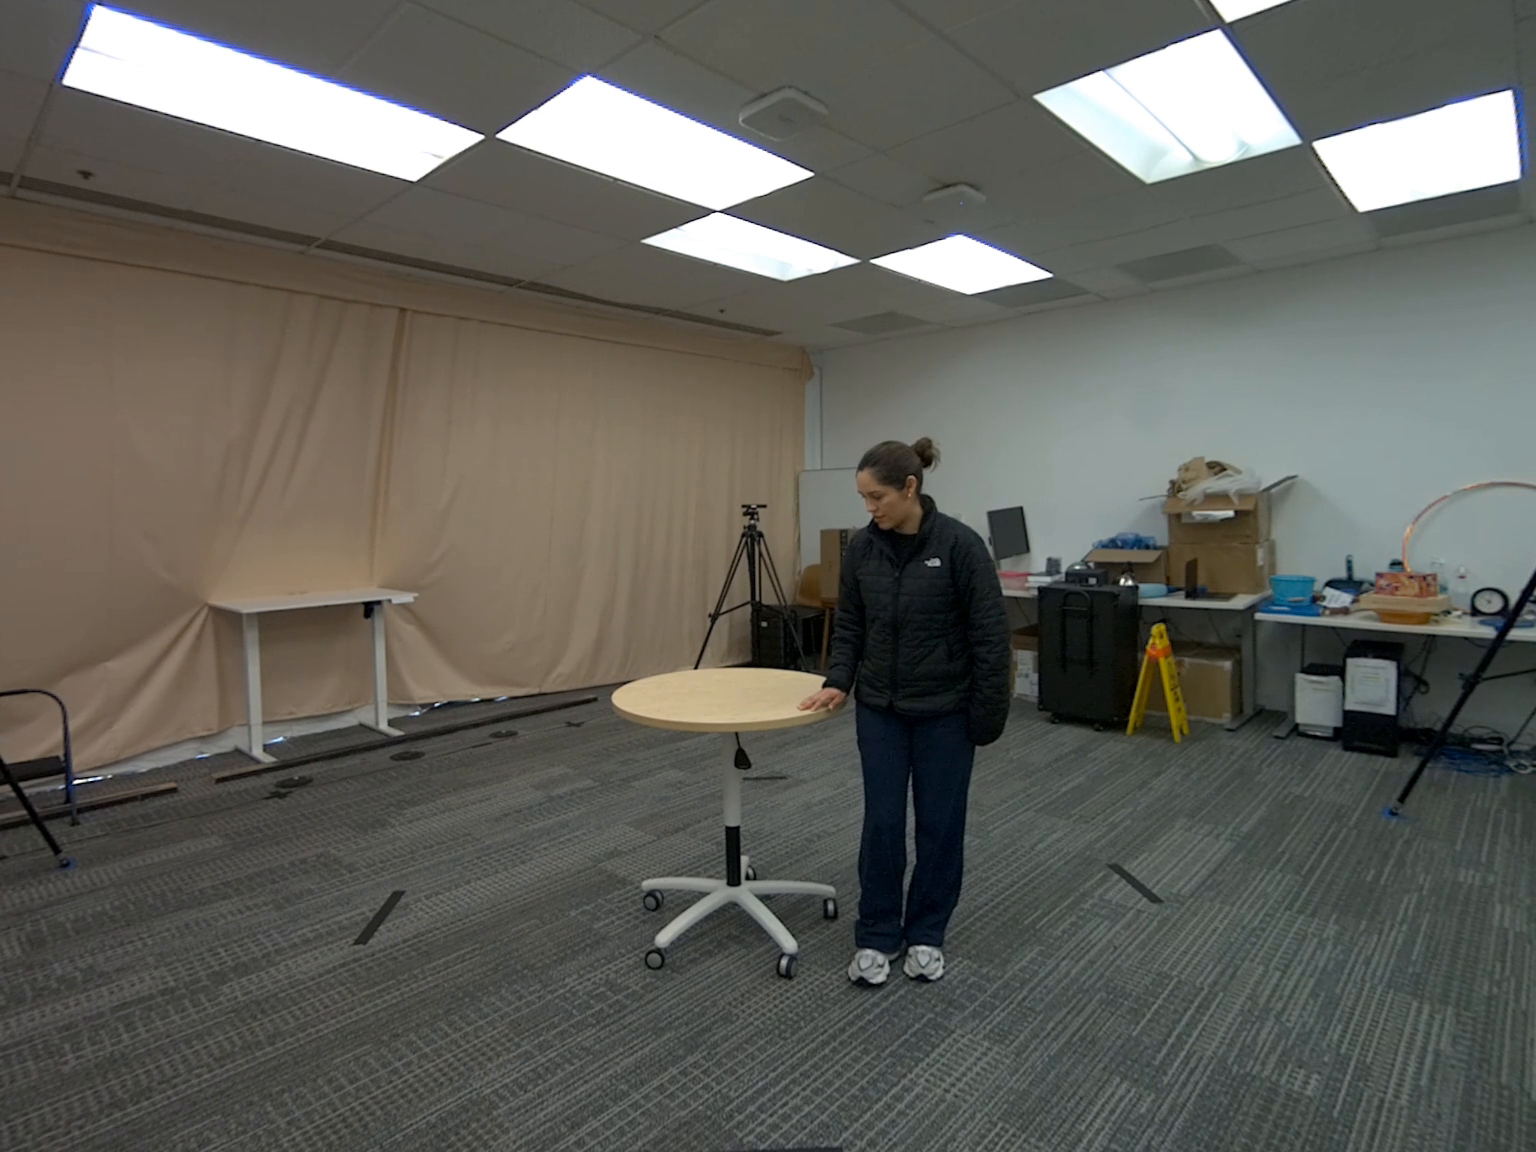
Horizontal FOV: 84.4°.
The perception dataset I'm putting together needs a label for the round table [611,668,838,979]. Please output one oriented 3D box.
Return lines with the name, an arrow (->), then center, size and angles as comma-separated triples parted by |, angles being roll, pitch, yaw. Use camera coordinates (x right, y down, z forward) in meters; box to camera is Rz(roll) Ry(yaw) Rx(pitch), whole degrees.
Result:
round table -> -0.113, 0.766, 2.782 | 0.784, 0.784, 0.788 | -1, 4, -2
